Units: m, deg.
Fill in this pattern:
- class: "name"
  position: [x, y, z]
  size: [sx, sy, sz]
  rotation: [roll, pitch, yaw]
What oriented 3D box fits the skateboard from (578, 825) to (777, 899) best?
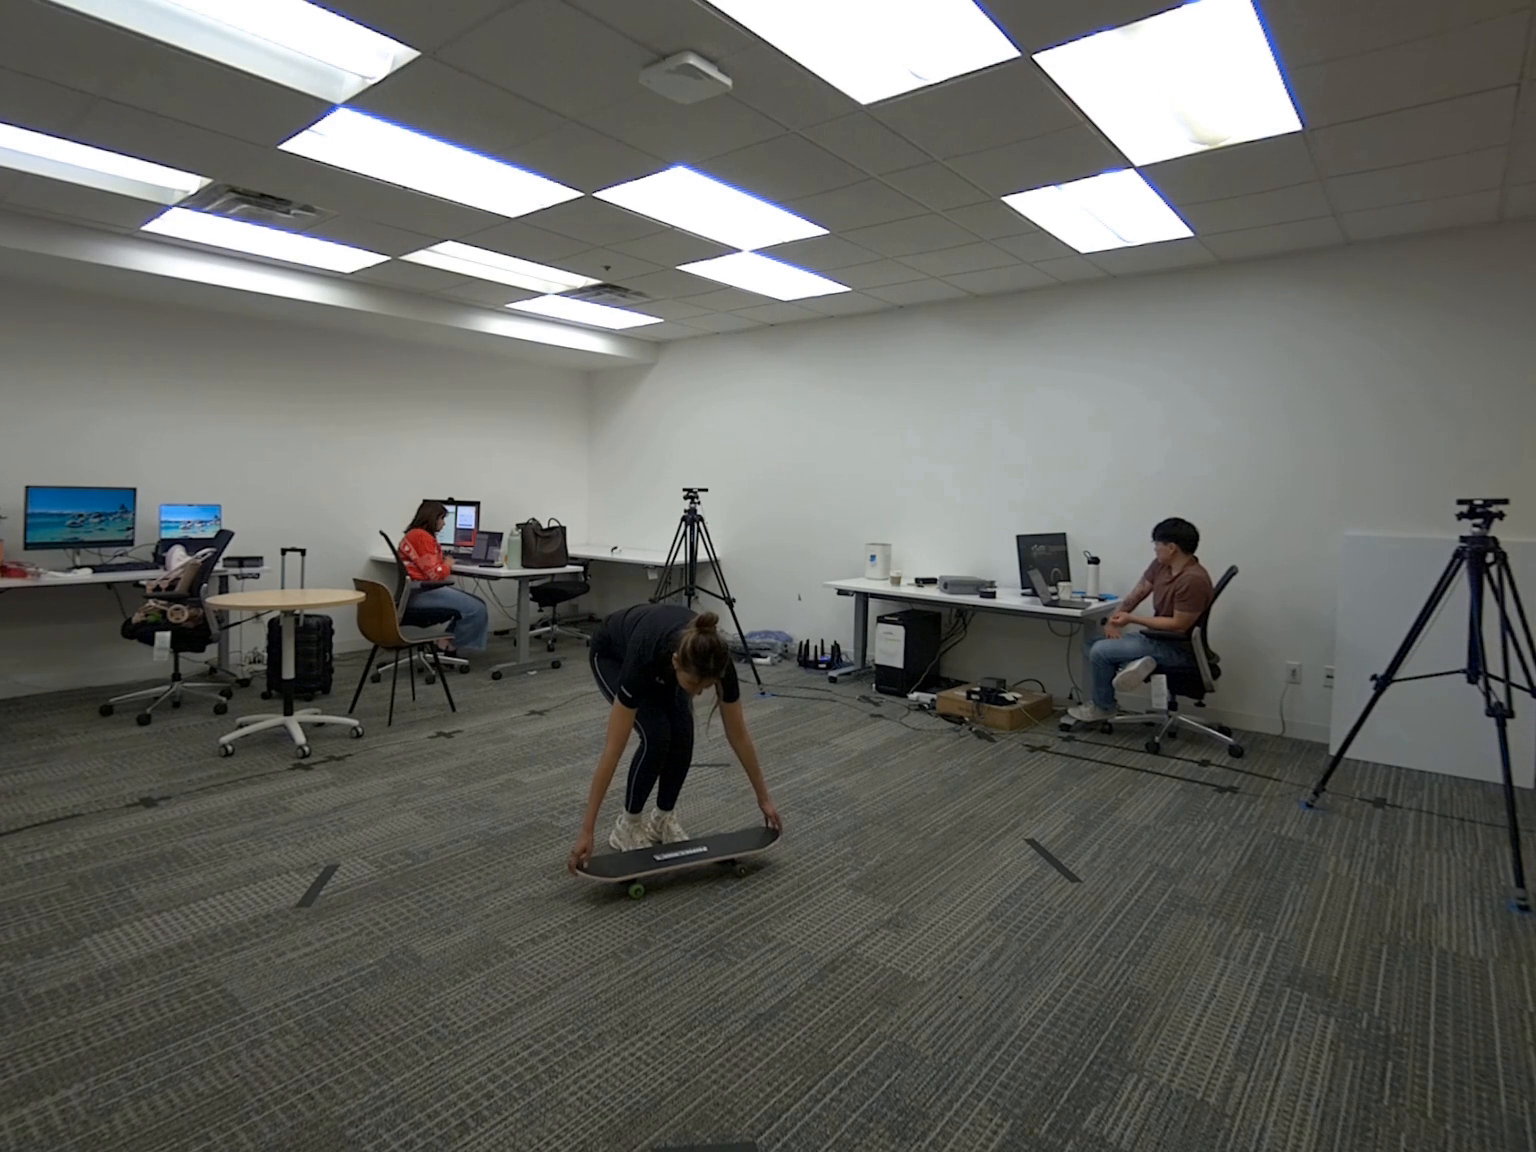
- class: "skateboard"
  position: [-0.321, 1.005, 3.030]
  size: [0.766, 0.110, 0.199]
  rotation: [-2, 6, -26]
